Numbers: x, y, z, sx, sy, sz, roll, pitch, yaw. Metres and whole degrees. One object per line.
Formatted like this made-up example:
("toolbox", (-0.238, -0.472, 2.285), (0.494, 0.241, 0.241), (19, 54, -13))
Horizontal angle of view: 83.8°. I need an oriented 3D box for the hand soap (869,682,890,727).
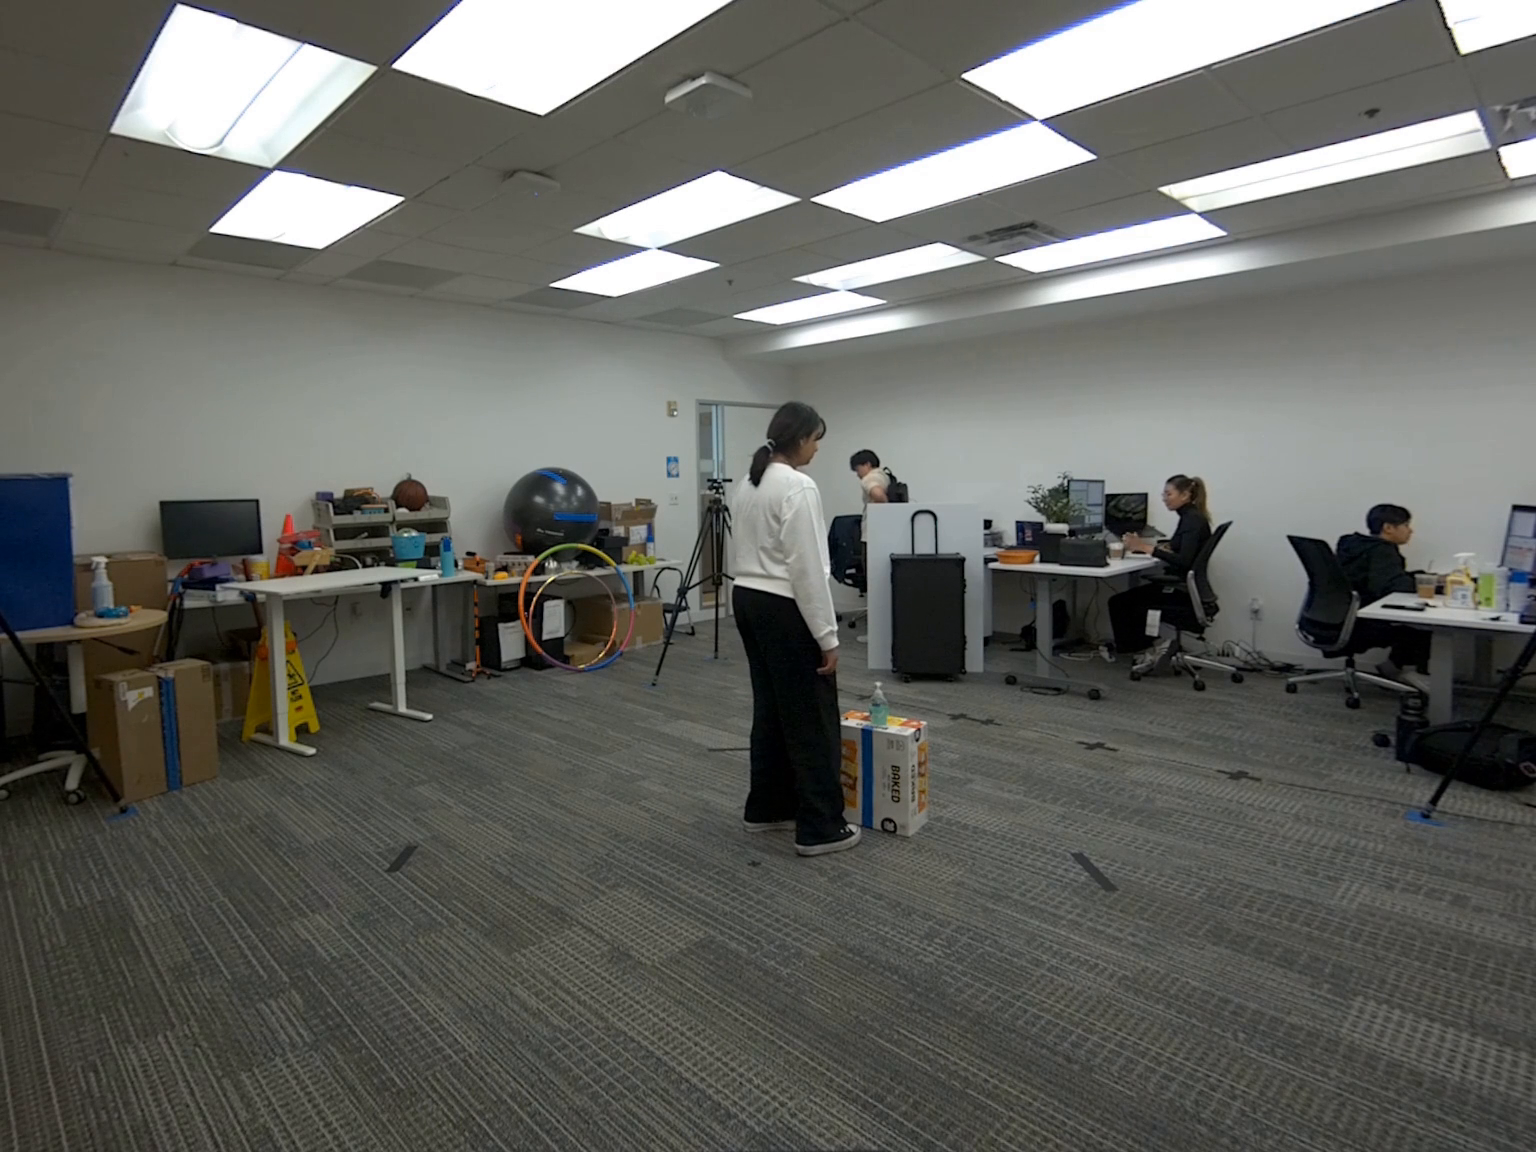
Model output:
("hand soap", (0.439, 0.510, 3.439), (0.087, 0.168, 0.042), (-1, 0, 31))
